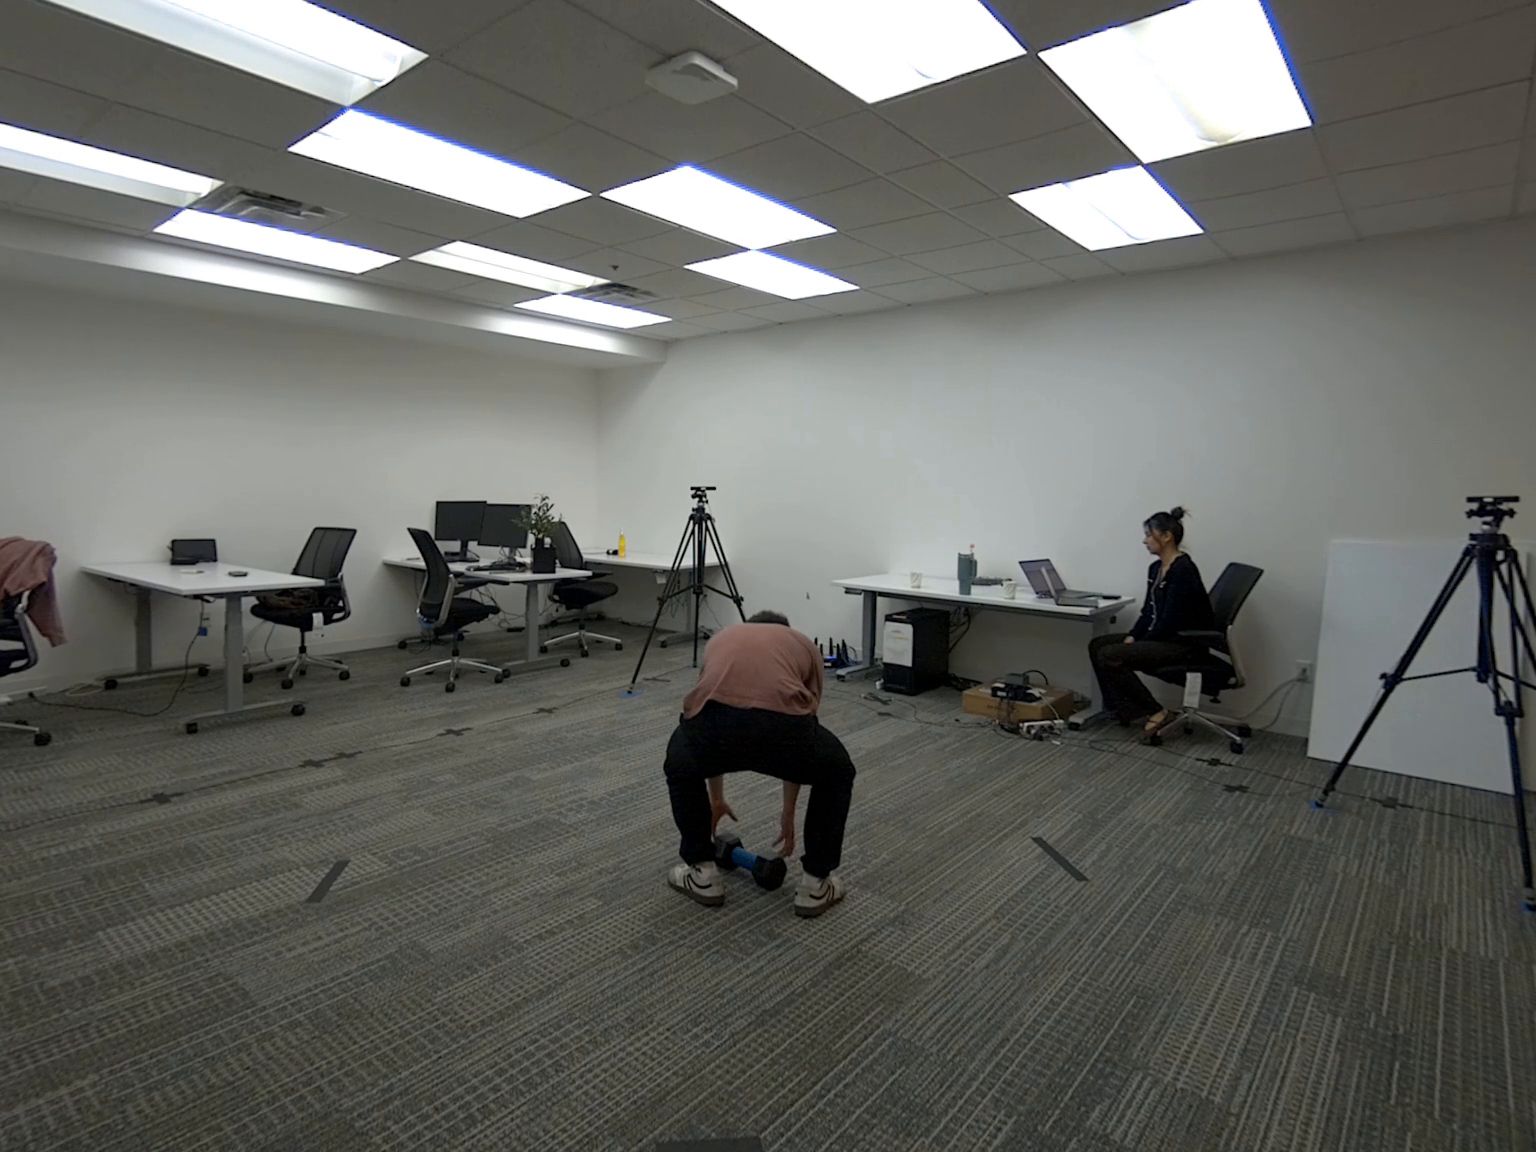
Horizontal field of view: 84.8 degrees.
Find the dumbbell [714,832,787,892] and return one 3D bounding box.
[{"bbox_3d":[-0.084,1.018,3.051,0.304,0.124,0.104,6,-24,45],"label":"dumbbell"}]
